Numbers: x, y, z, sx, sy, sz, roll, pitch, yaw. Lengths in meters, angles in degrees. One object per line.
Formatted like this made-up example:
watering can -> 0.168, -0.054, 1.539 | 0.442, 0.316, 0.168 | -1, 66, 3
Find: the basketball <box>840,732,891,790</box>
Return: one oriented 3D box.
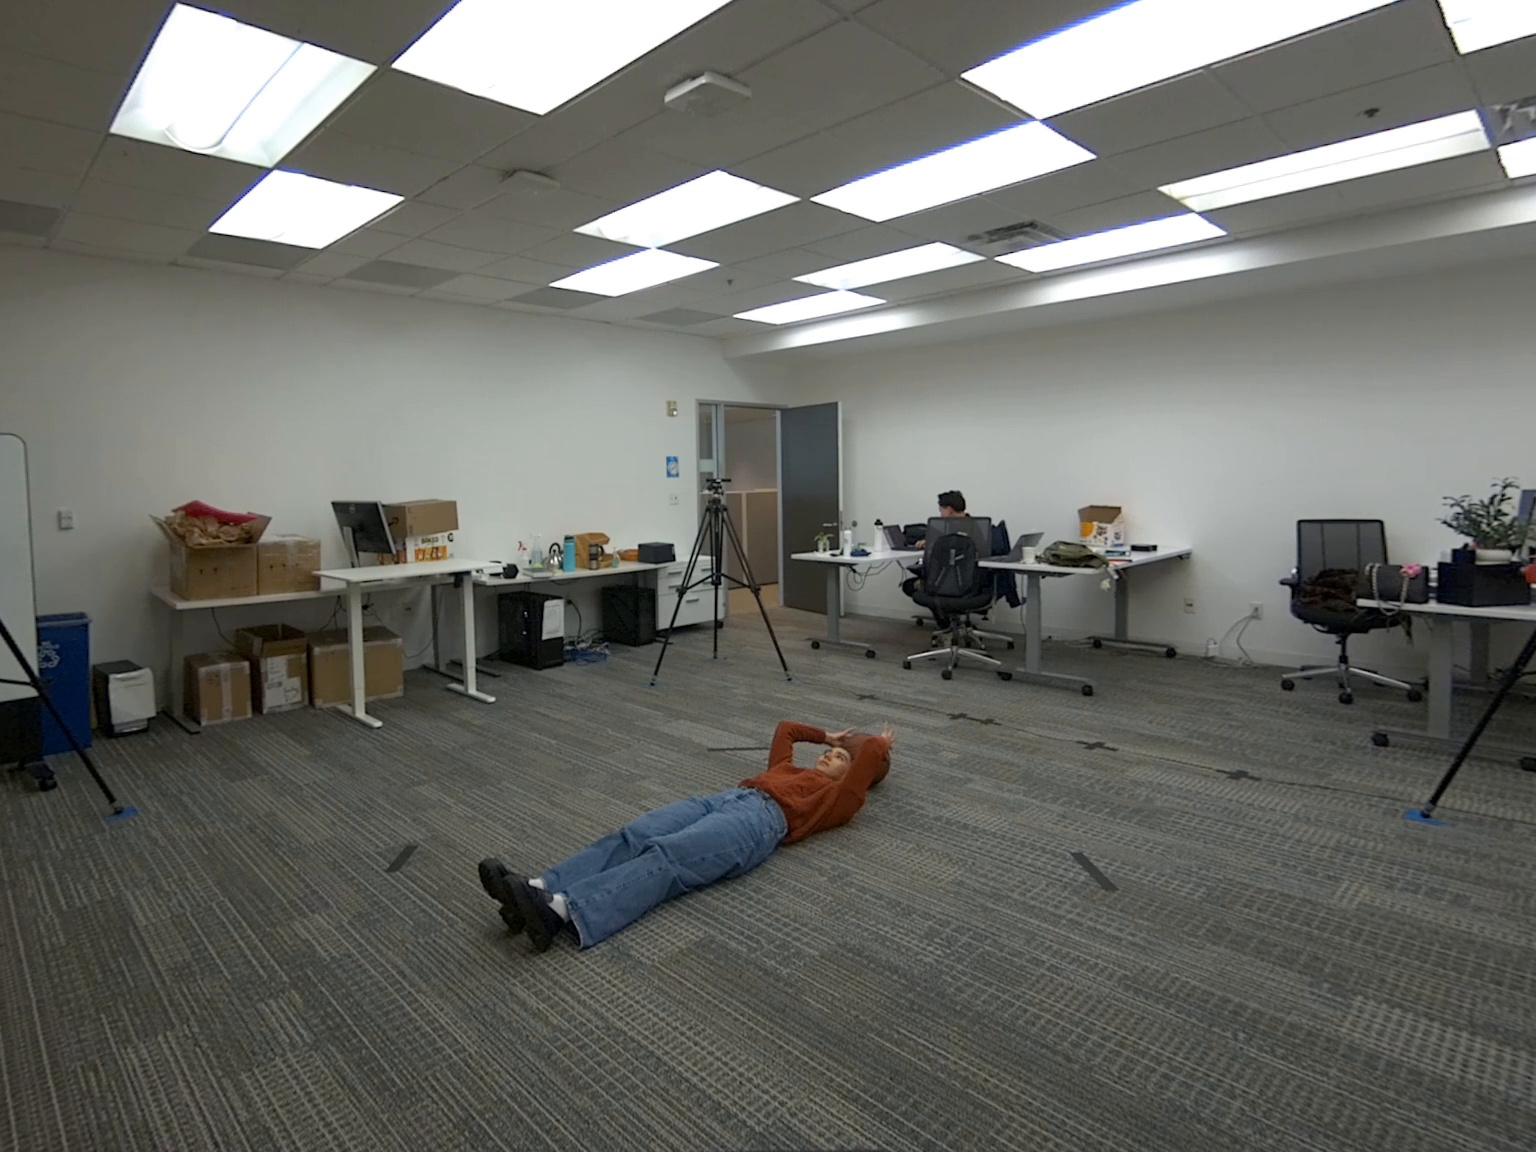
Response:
basketball -> 0.442, 0.836, 3.871 | 0.236, 0.236, 0.236 | 0, 1, -2
